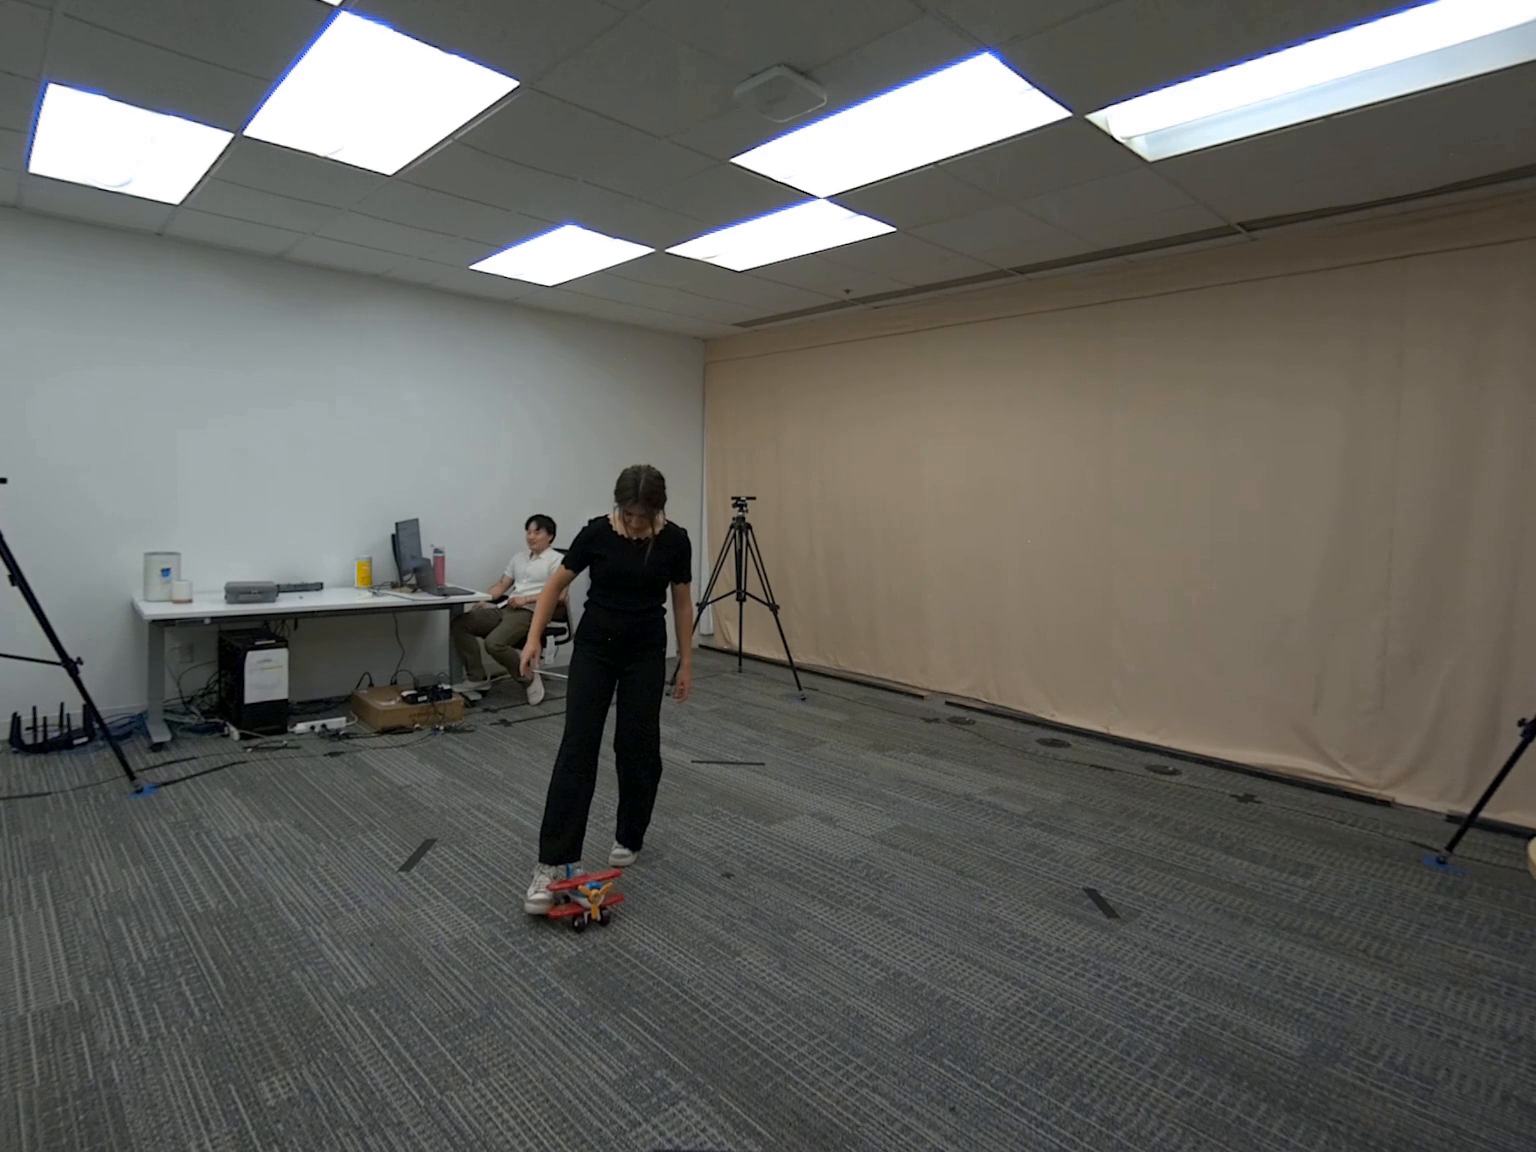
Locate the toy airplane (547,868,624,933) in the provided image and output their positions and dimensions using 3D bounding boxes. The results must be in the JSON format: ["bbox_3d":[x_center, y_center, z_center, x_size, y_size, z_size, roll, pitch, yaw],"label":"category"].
[{"bbox_3d":[-0.642,1.054,2.765,0.265,0.156,0.246,6,6,28],"label":"toy airplane"}]
